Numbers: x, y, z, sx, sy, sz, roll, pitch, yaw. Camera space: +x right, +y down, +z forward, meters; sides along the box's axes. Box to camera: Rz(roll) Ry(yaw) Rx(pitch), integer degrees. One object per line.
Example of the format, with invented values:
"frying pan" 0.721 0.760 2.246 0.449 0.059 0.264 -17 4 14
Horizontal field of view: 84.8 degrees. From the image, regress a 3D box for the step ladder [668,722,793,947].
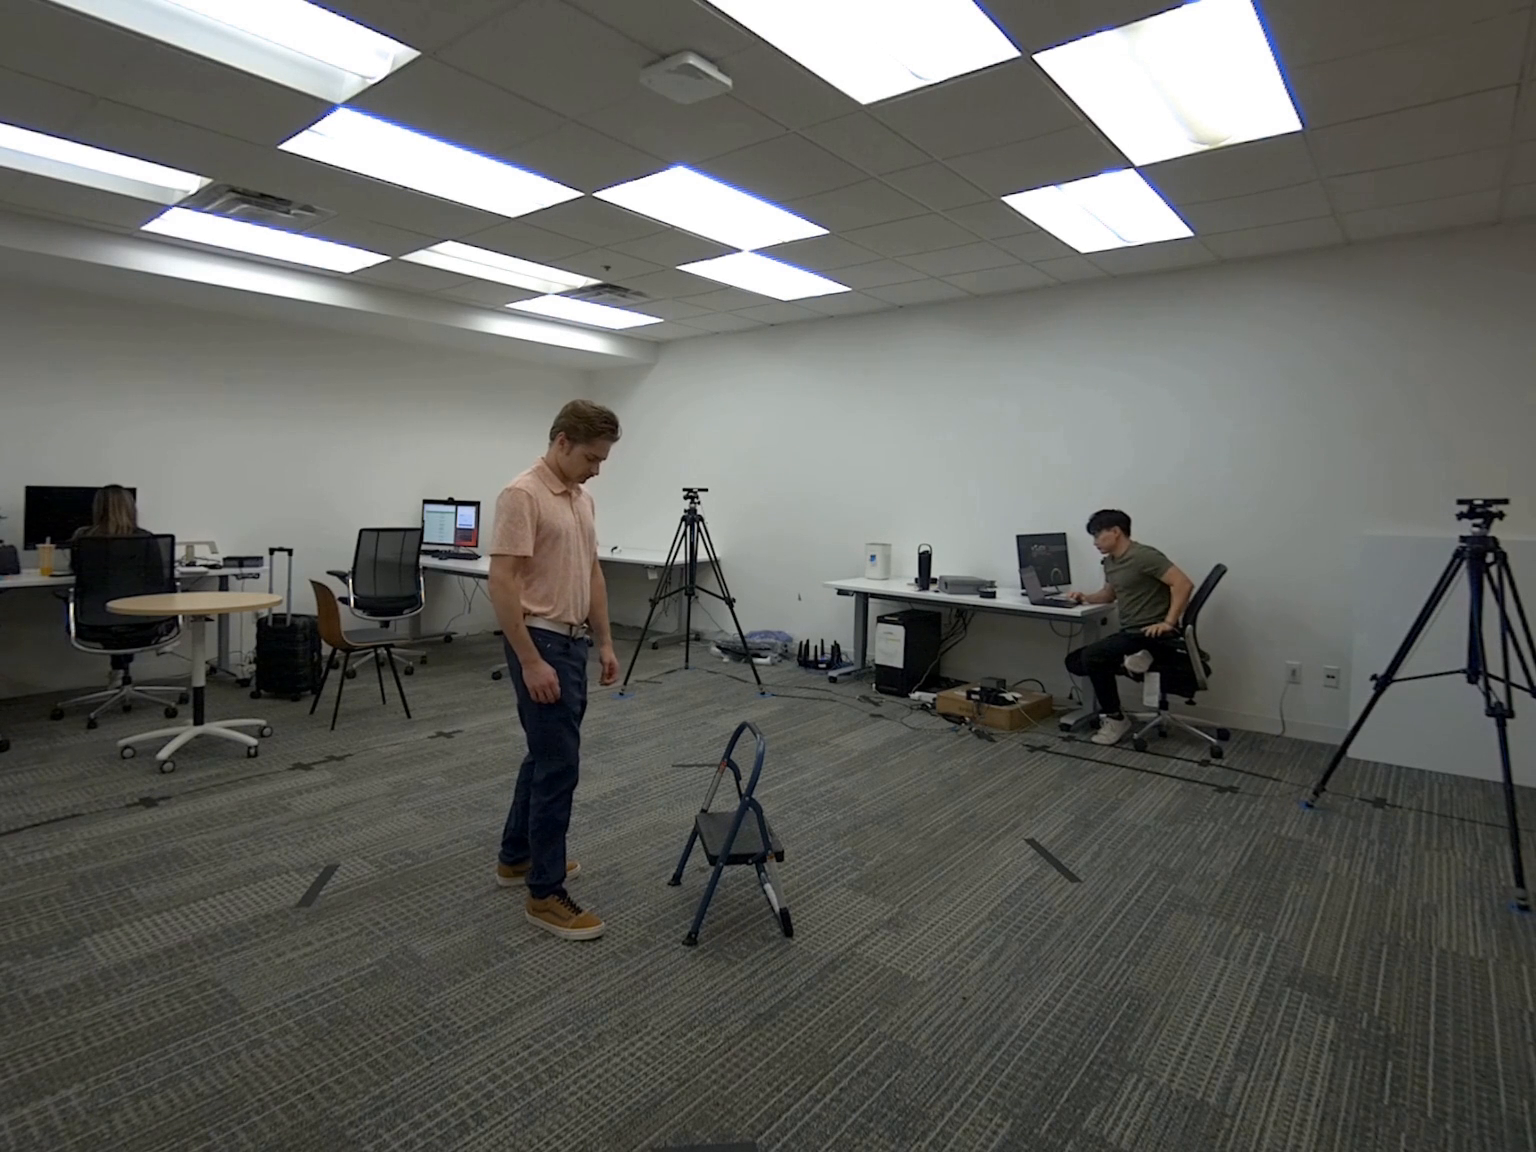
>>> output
"step ladder" -0.127 0.805 2.796 0.345 0.604 0.437 2 4 -12
